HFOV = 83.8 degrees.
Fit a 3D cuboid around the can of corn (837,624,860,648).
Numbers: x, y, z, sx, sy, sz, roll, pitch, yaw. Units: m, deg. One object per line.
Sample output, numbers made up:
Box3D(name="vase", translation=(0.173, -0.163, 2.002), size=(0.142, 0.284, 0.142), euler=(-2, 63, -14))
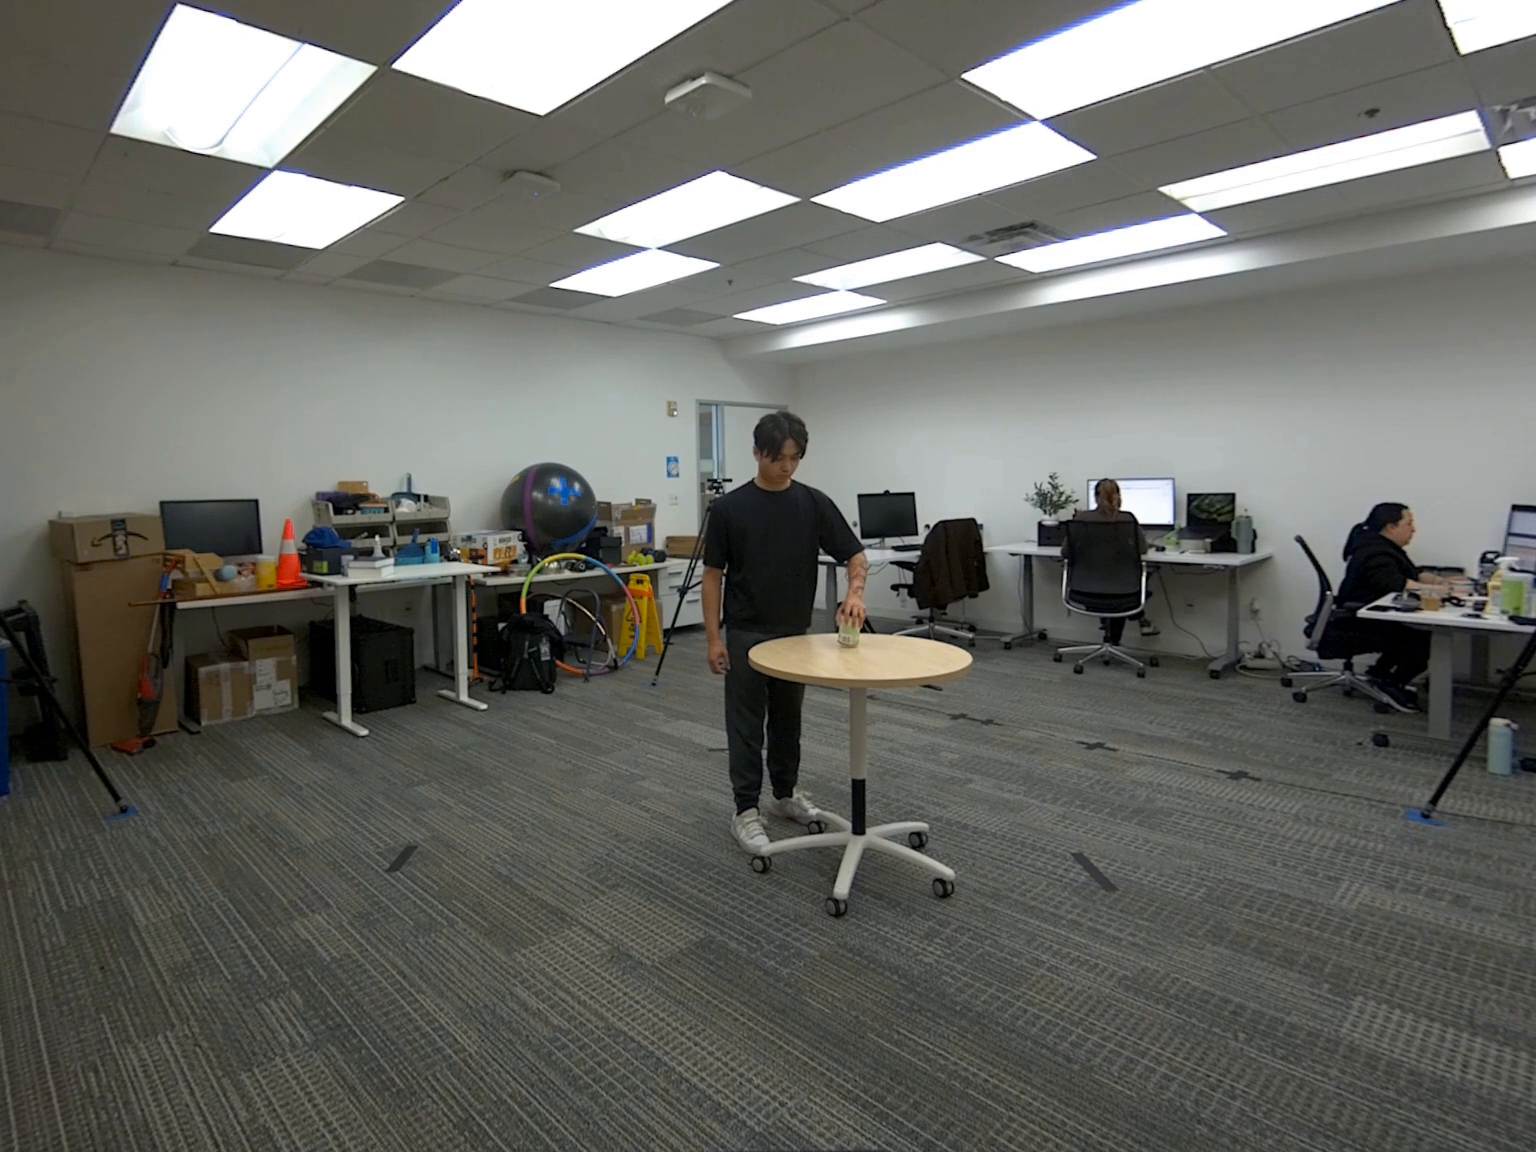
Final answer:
Box3D(name="can of corn", translation=(0.294, 0.189, 3.088), size=(0.074, 0.110, 0.075), euler=(3, 9, -2))
